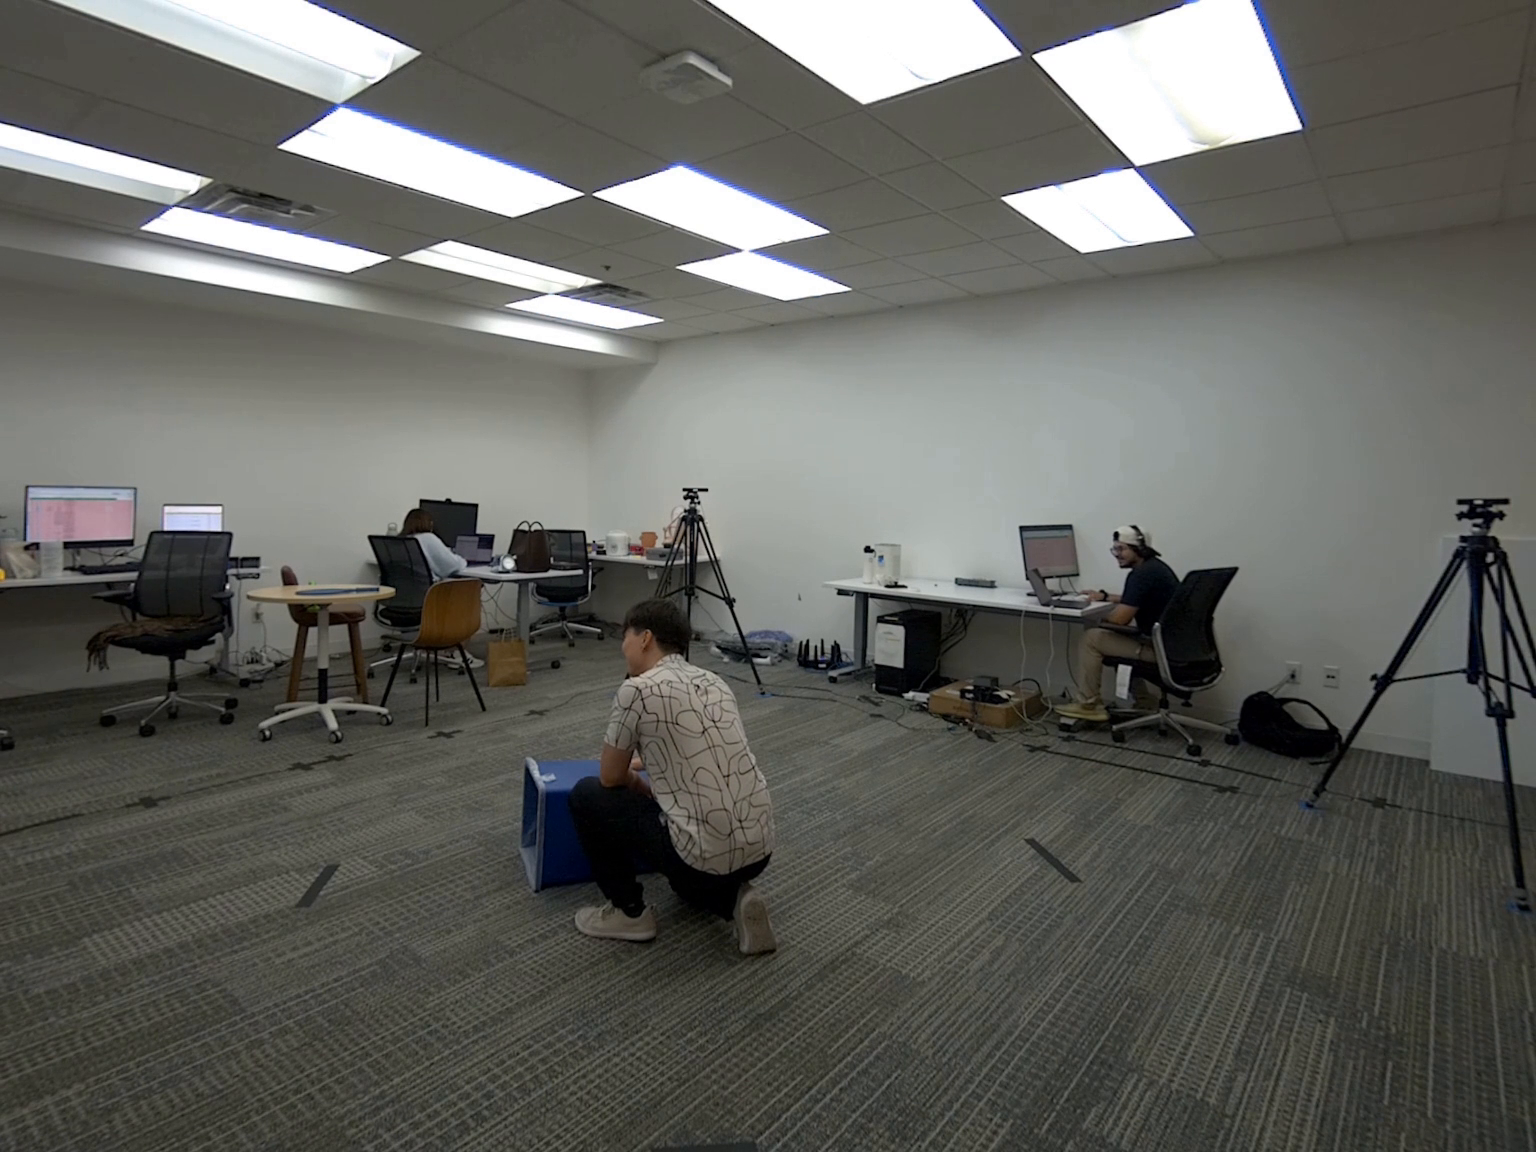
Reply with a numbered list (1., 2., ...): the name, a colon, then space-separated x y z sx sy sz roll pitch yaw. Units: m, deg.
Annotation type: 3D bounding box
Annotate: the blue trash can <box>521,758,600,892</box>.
1. blue trash can: -0.545 0.888 3.176 0.698 0.373 0.388 3 4 -22
